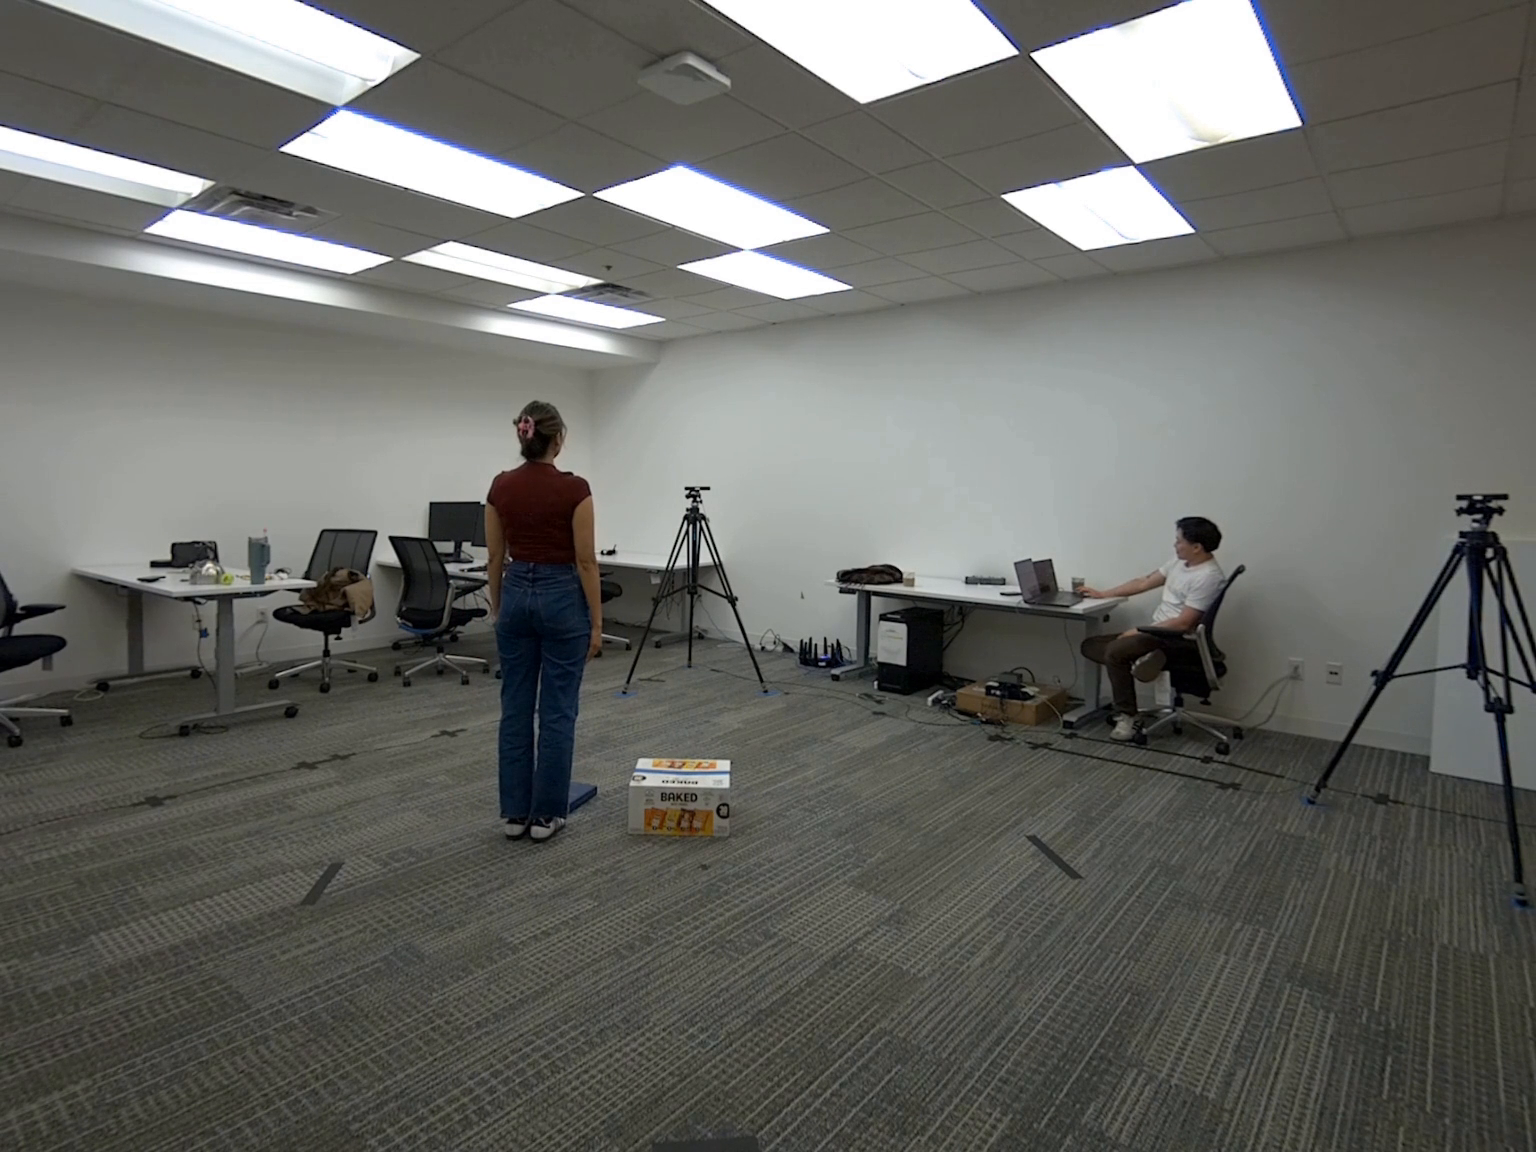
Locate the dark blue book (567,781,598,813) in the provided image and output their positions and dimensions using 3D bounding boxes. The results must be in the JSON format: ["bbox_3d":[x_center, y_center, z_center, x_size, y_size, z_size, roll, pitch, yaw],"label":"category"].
[{"bbox_3d":[-0.901,0.971,3.749,0.167,0.045,0.241,2,7,20],"label":"dark blue book"}]
